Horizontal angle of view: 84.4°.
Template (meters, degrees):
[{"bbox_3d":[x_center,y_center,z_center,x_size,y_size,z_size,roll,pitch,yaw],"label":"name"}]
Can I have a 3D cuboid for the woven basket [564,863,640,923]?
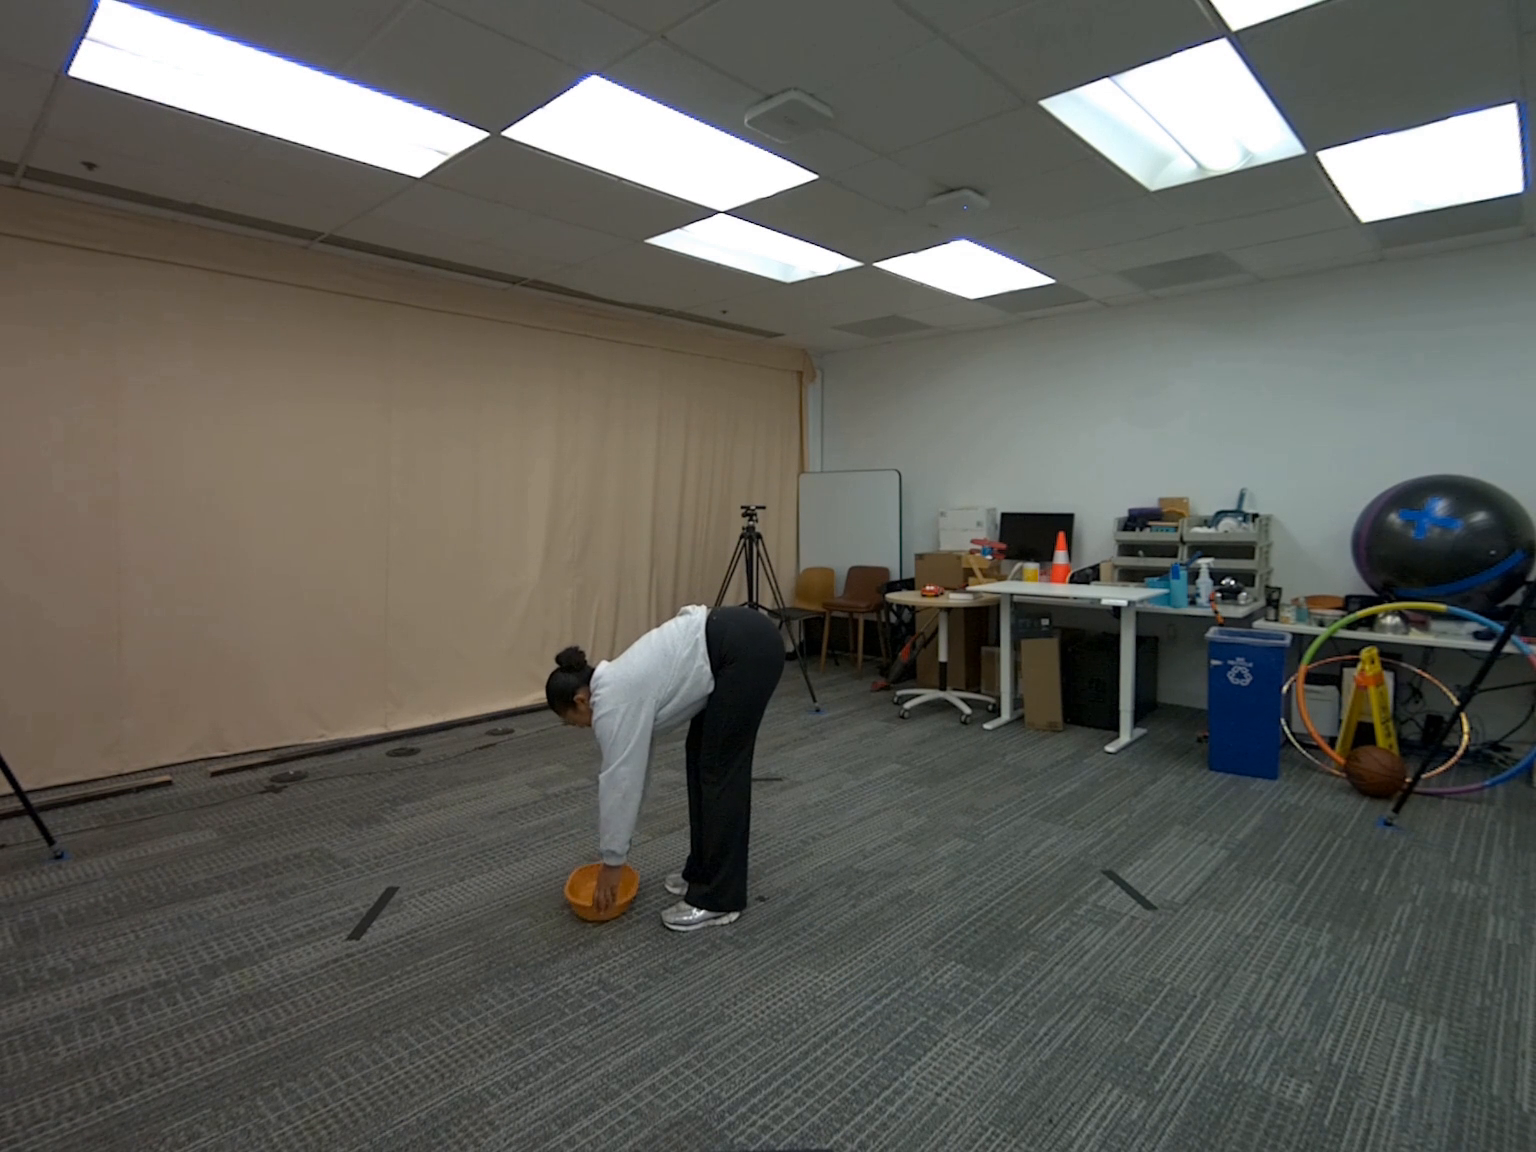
[{"bbox_3d":[-0.581,1.096,2.951,0.253,0.073,0.351,2,4,0],"label":"woven basket"}]
